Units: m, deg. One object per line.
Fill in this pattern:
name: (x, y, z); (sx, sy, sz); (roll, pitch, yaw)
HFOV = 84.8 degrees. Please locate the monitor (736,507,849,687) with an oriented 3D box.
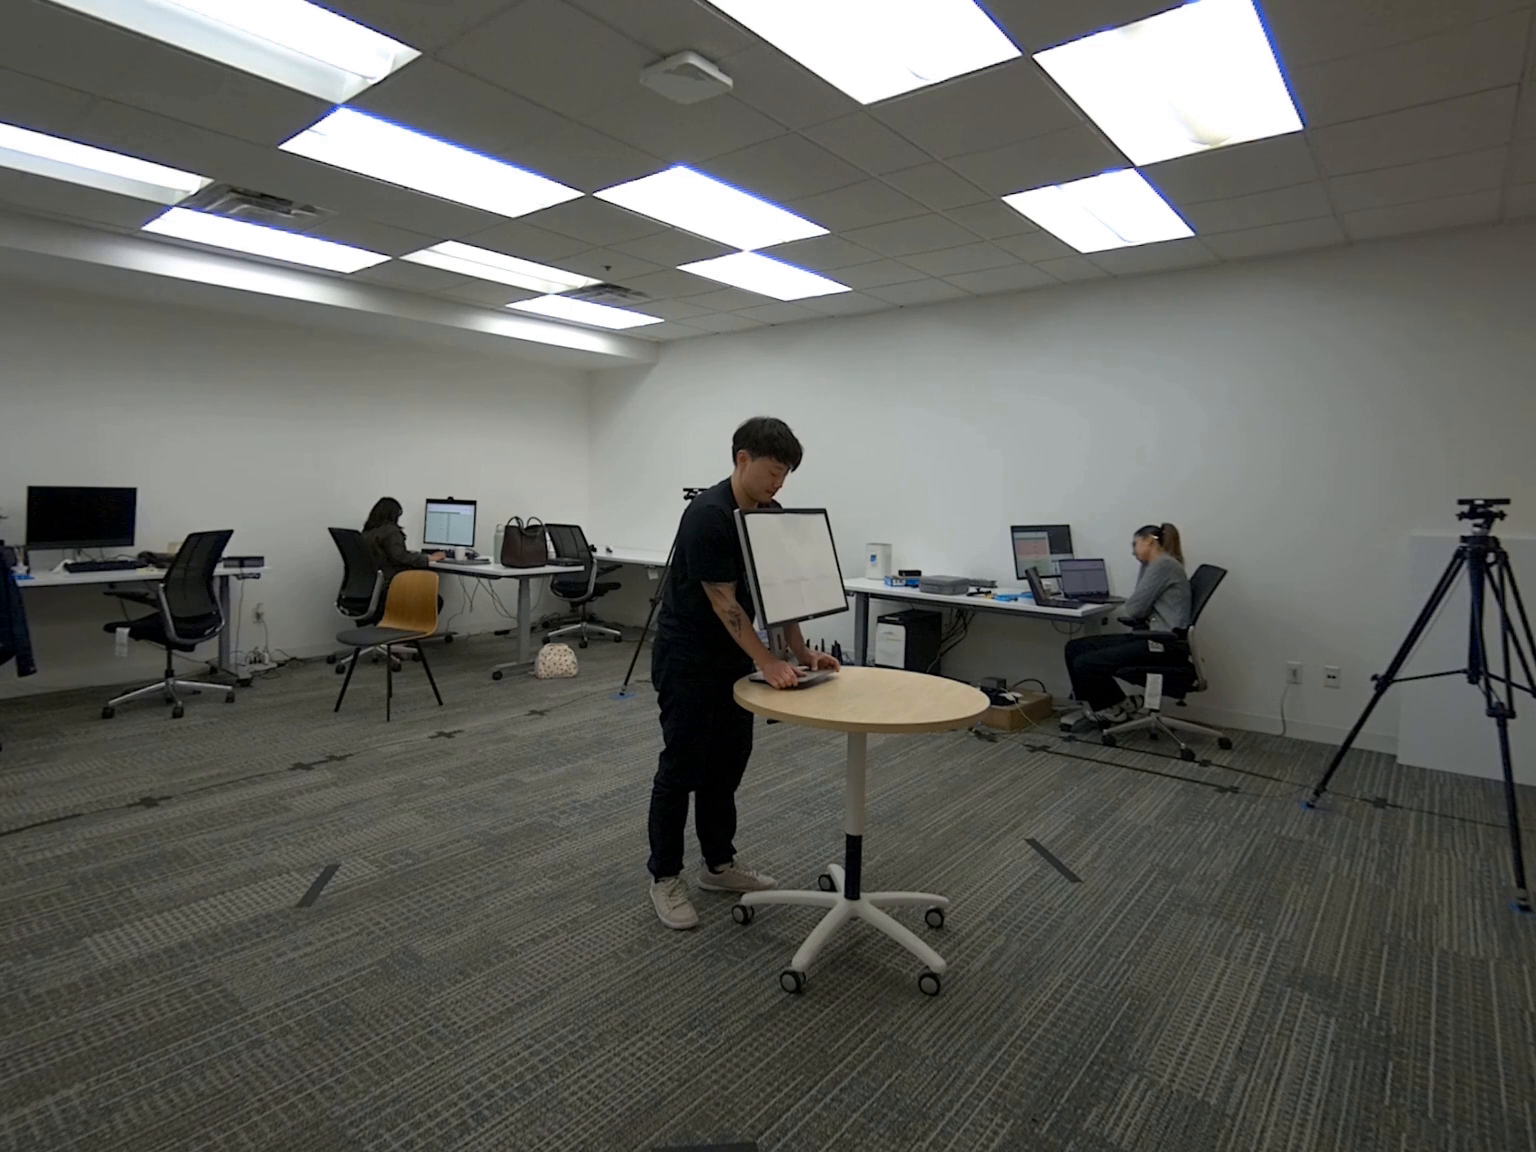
monitor: (0.064, 0.054, 2.734); (0.192, 0.522, 0.525); (-2, 2, 32)
